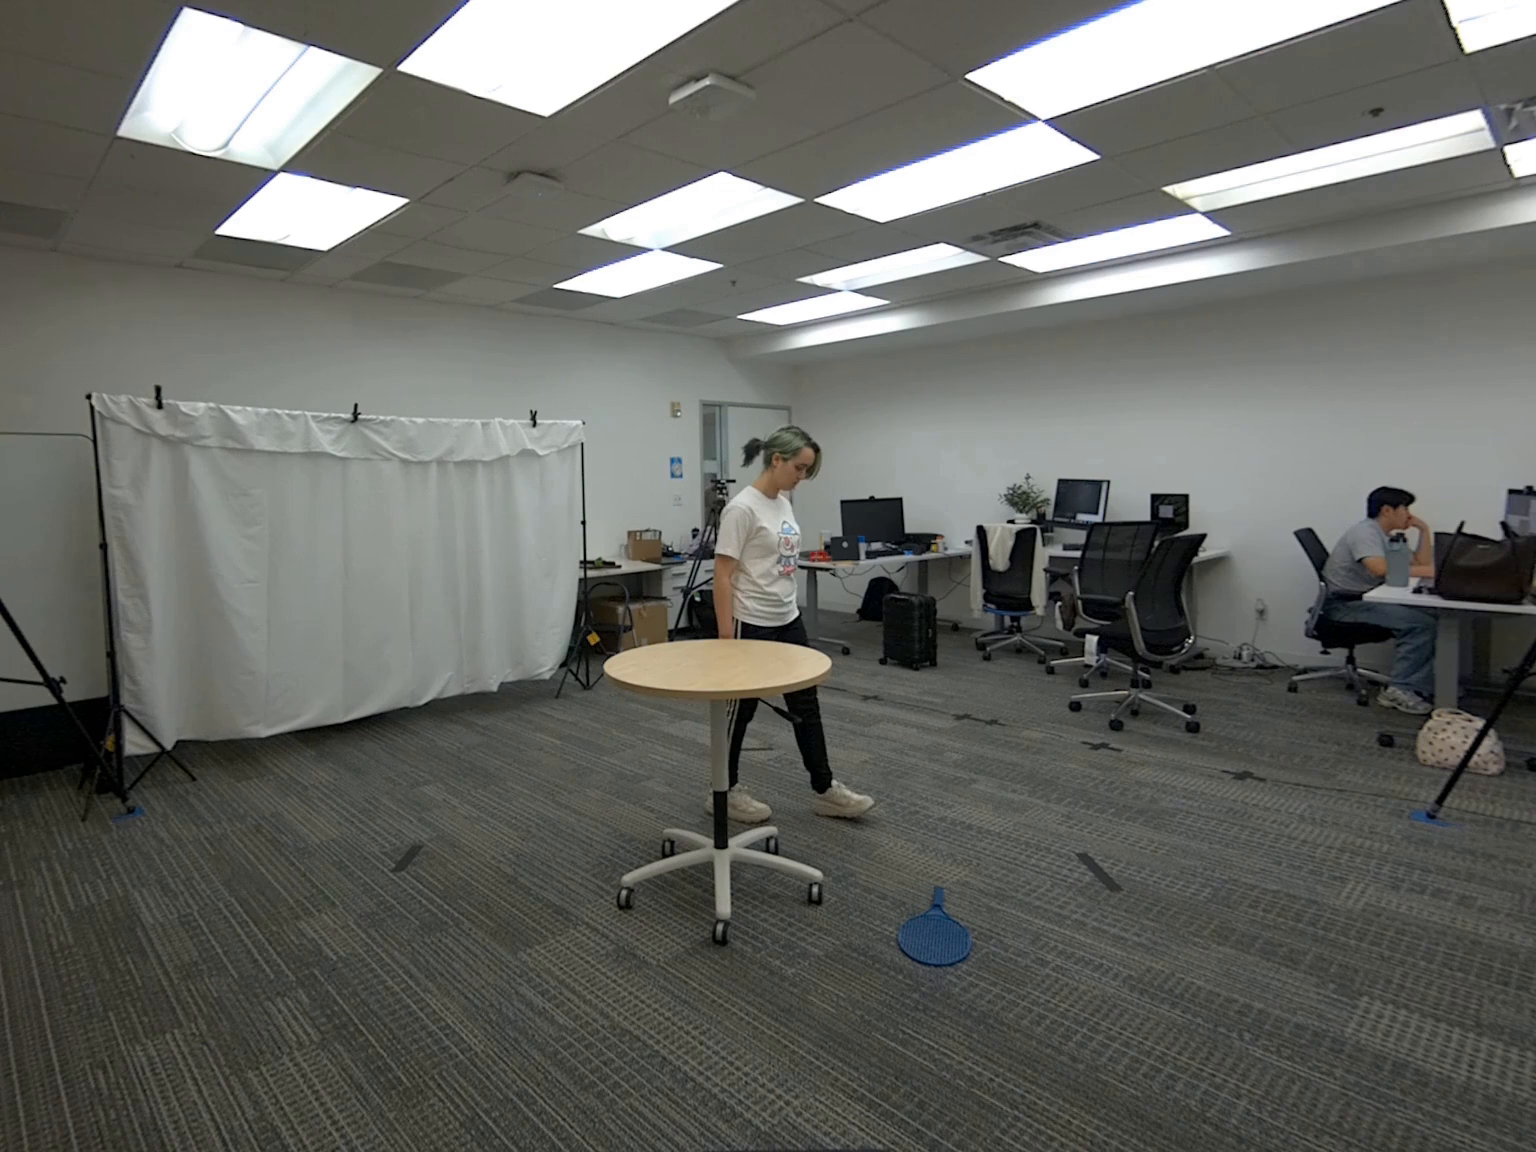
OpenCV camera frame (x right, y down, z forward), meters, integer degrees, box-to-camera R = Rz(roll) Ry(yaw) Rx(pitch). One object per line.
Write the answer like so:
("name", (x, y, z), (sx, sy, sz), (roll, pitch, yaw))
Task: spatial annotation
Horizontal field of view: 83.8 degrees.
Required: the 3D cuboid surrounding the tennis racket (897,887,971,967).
("tennis racket", (0.521, 1.074, 2.641), (0.217, 0.031, 0.429), (1, 9, 14))
